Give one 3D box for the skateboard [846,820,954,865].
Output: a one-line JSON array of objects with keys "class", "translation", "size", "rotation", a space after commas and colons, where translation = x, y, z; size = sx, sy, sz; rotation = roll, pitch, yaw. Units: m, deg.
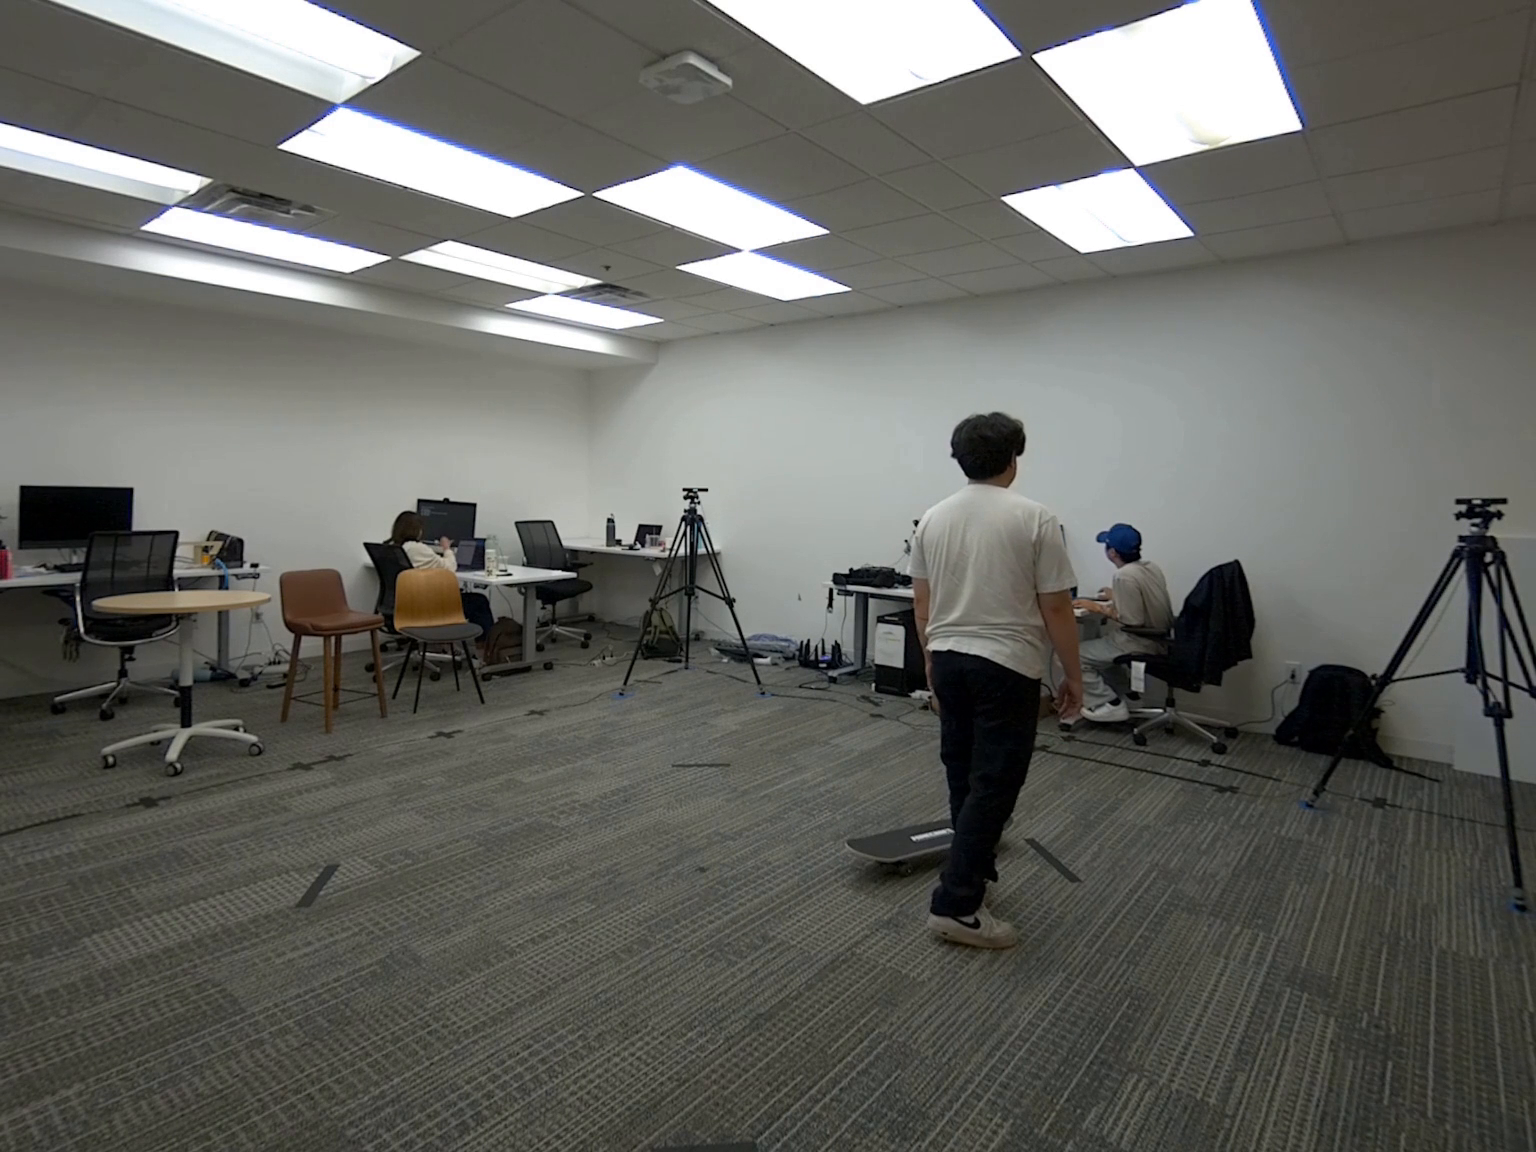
[{"class": "skateboard", "translation": [0.622, 1.020, 3.258], "size": [0.765, 0.110, 0.199], "rotation": [-2, 6, -29]}]
